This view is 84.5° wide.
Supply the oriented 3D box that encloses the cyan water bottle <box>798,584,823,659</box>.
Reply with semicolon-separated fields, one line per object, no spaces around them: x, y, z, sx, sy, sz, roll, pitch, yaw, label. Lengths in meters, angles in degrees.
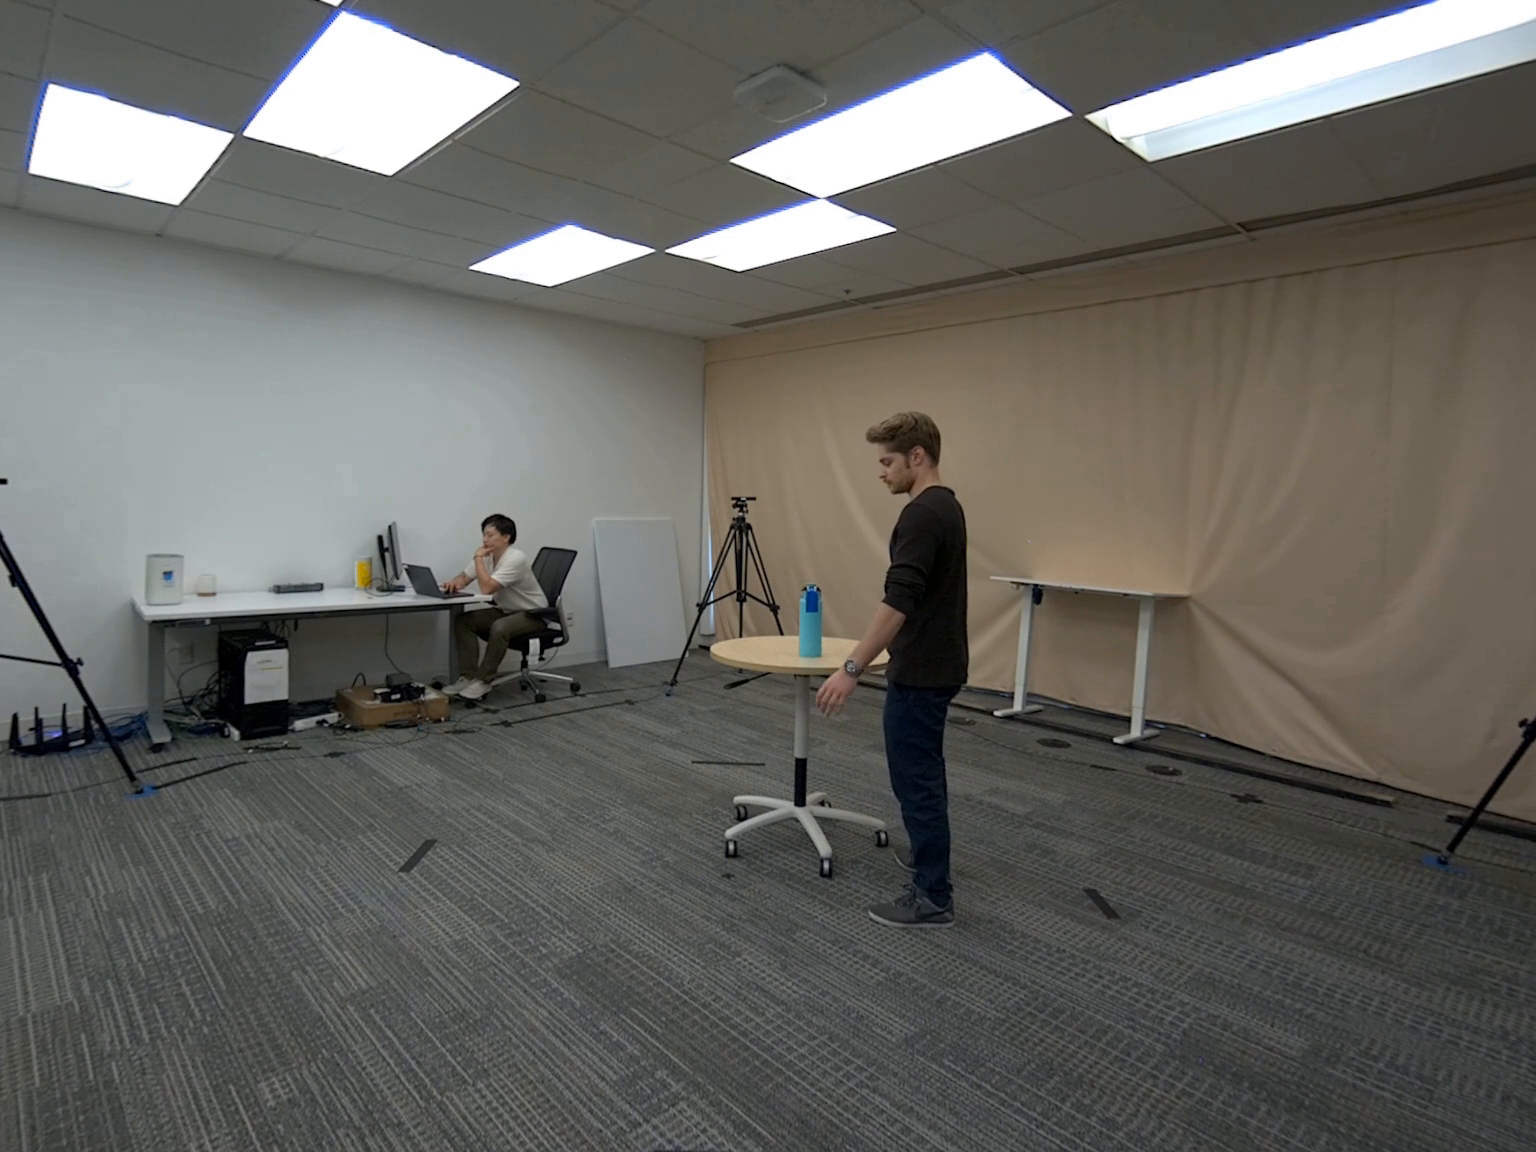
0.162;0.174;3.300;0.092;0.282;0.093;2;4;-2;cyan water bottle
